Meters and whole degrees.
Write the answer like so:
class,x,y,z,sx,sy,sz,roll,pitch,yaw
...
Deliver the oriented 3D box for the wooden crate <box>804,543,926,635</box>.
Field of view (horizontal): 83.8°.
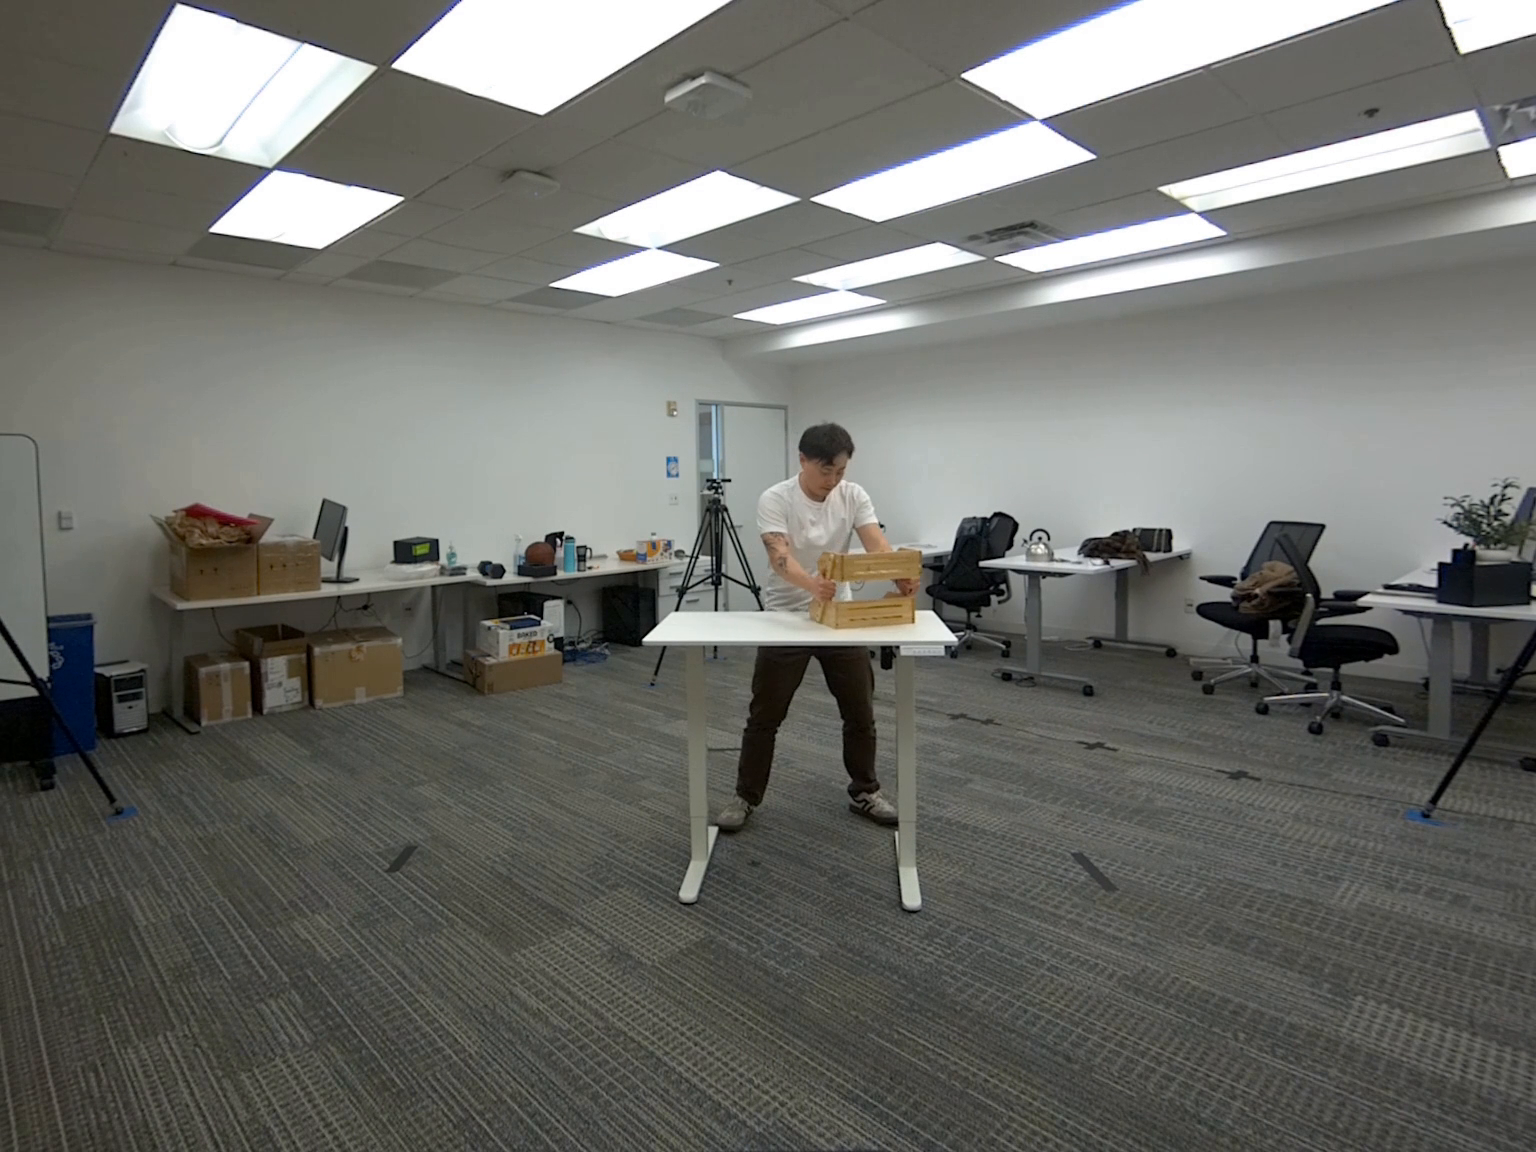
class,x,y,z,sx,sy,sz,roll,pitch,yaw
wooden crate,0.333,0.033,3.028,0.319,0.272,0.308,-2,6,-18
